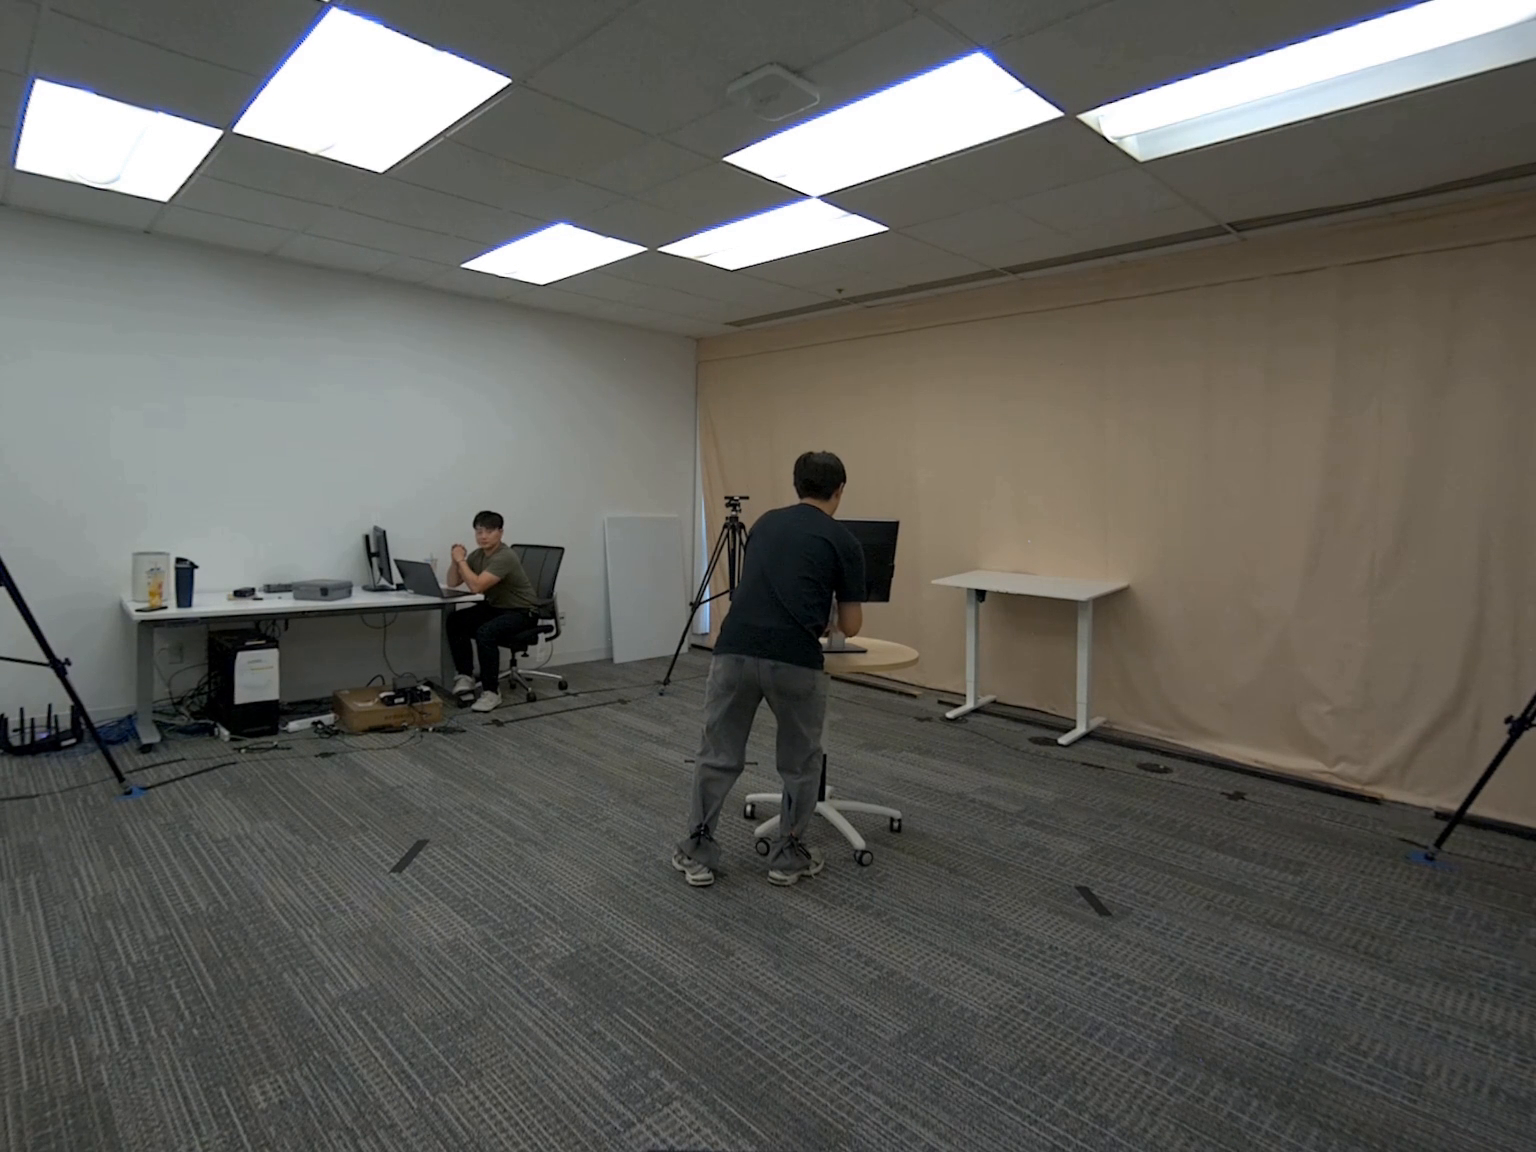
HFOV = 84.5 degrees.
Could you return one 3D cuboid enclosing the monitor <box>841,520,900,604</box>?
[{"bbox_3d":[0.274,0.042,3.456,0.556,0.566,0.224,1,0,-12],"label":"monitor"}]
